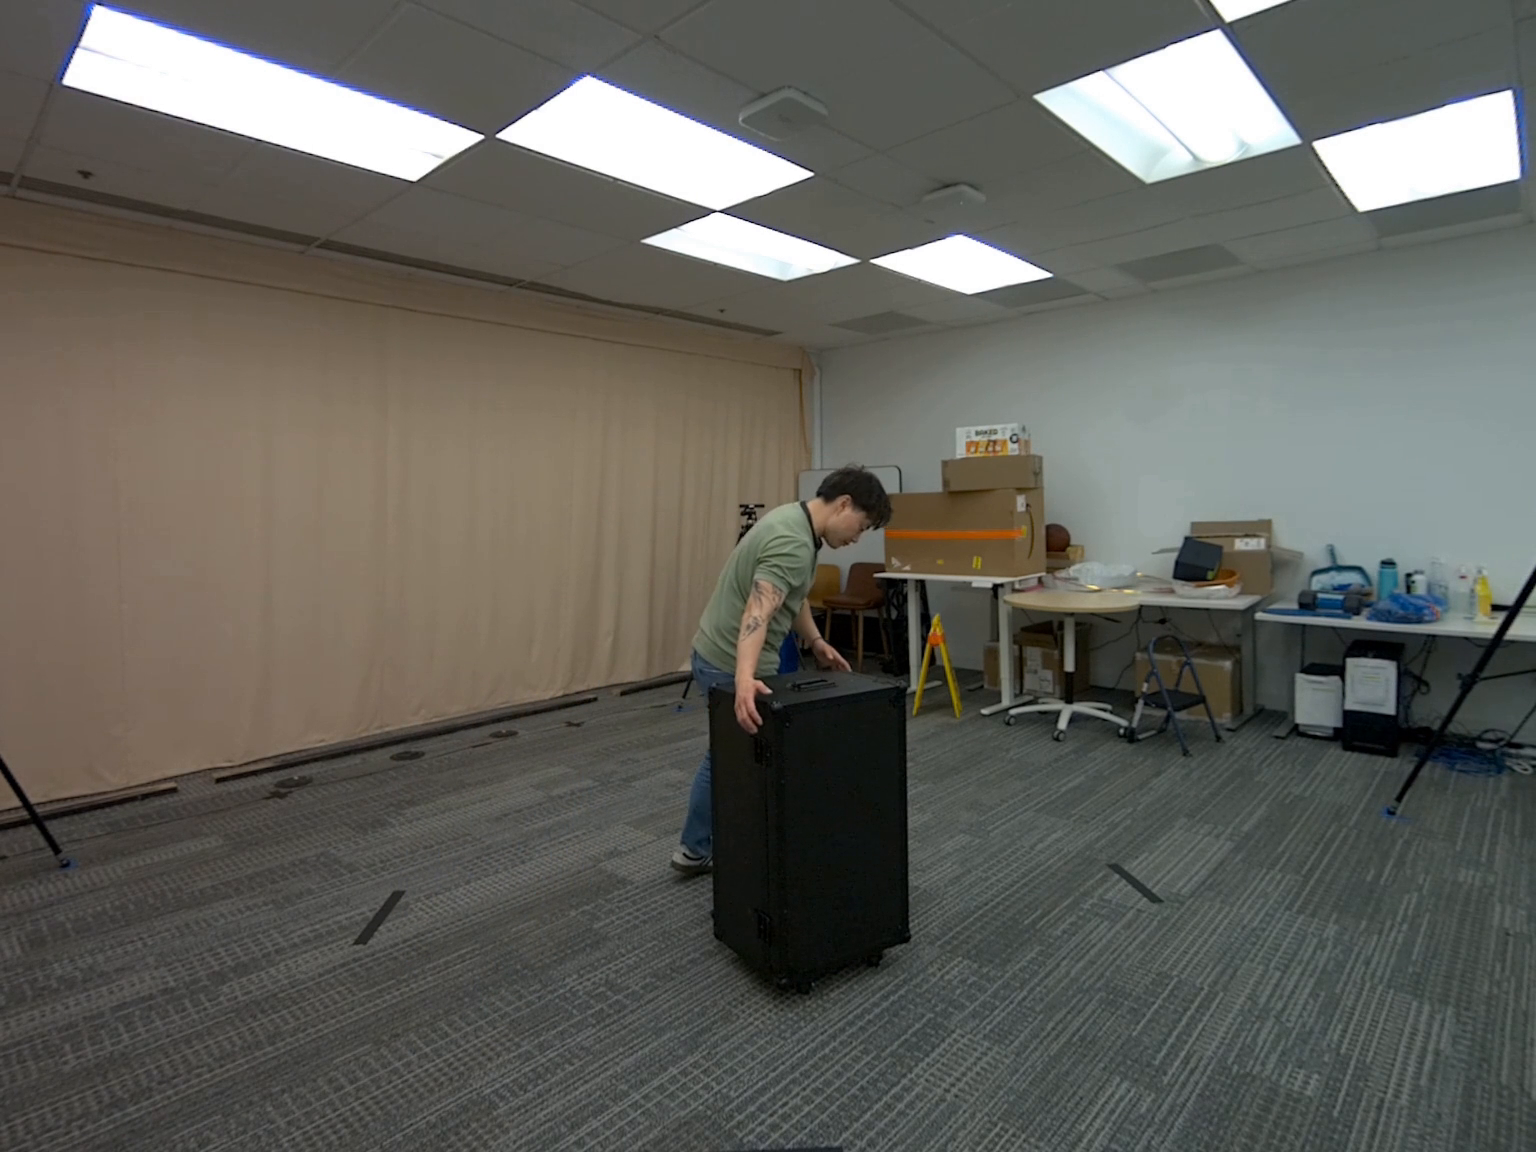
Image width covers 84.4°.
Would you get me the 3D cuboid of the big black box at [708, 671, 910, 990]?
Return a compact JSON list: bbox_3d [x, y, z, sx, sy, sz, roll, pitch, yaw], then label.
[{"bbox_3d":[0.119,0.749,2.550,0.507,0.860,0.408,-3,2,-32],"label":"big black box"}]
